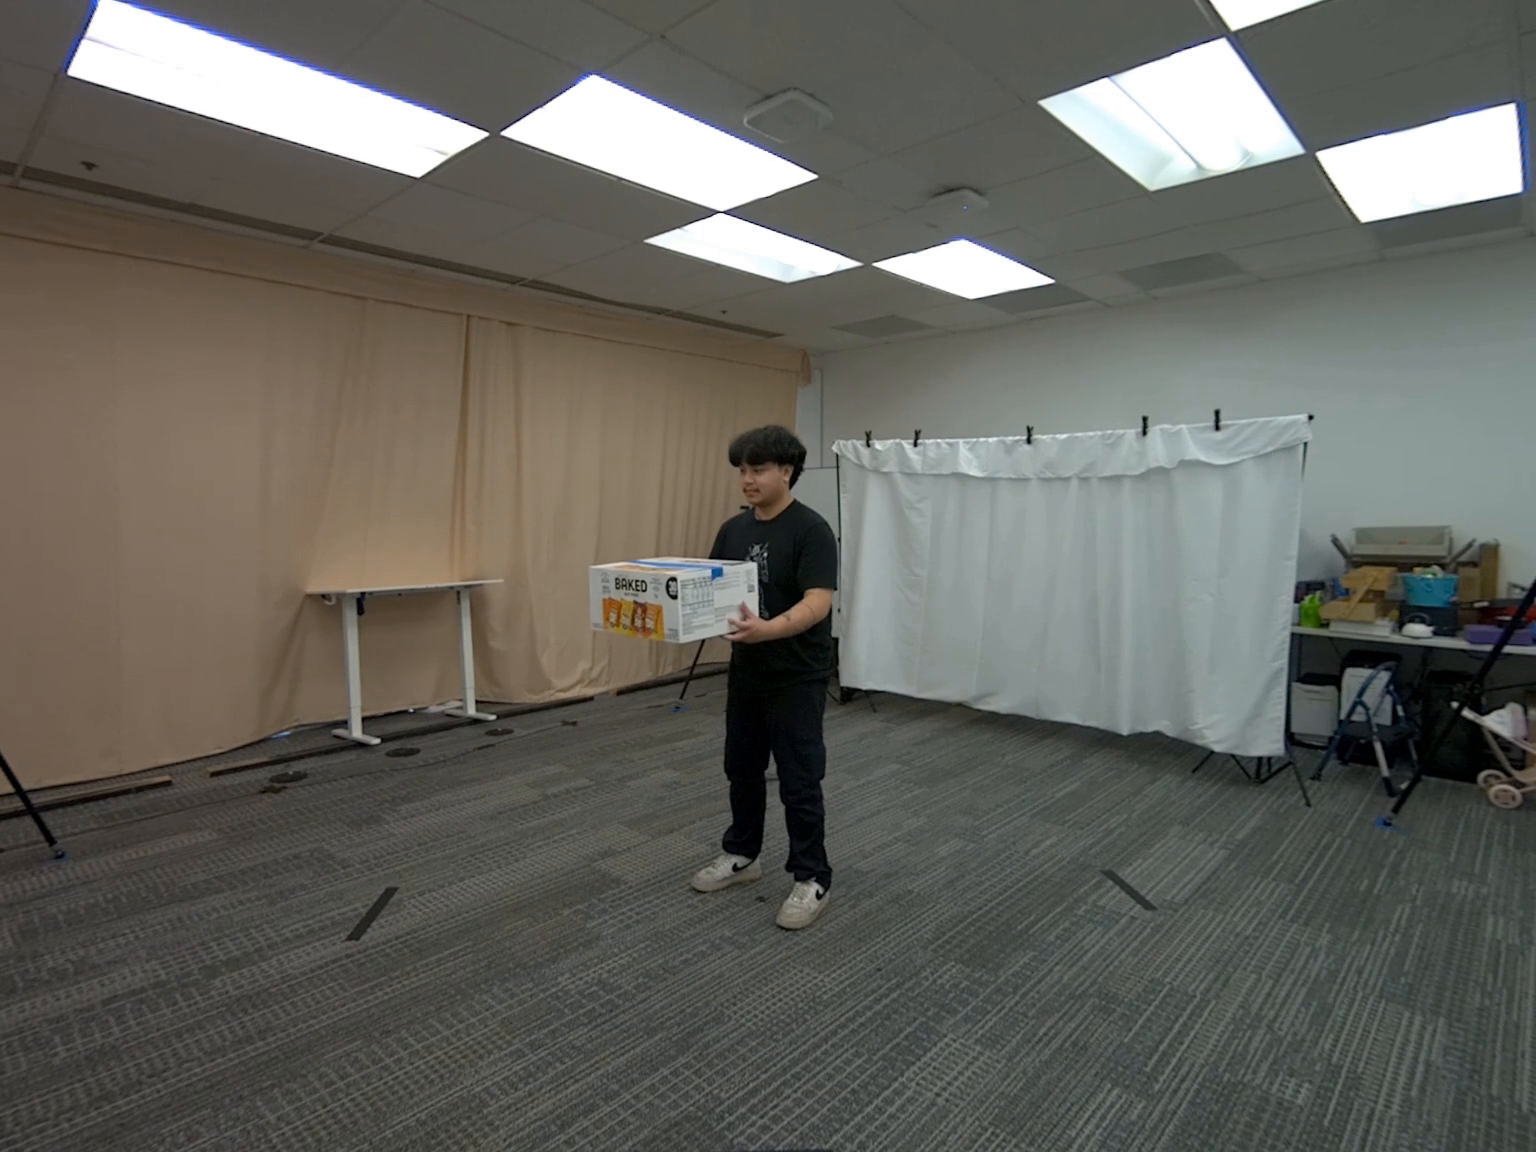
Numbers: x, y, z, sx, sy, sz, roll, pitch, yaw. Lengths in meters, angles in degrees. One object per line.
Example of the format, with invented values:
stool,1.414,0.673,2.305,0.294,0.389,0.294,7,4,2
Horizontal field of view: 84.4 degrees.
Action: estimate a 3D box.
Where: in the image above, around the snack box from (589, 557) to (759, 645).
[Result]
snack box,-0.295,0.068,2.620,0.418,0.205,0.330,4,9,42
